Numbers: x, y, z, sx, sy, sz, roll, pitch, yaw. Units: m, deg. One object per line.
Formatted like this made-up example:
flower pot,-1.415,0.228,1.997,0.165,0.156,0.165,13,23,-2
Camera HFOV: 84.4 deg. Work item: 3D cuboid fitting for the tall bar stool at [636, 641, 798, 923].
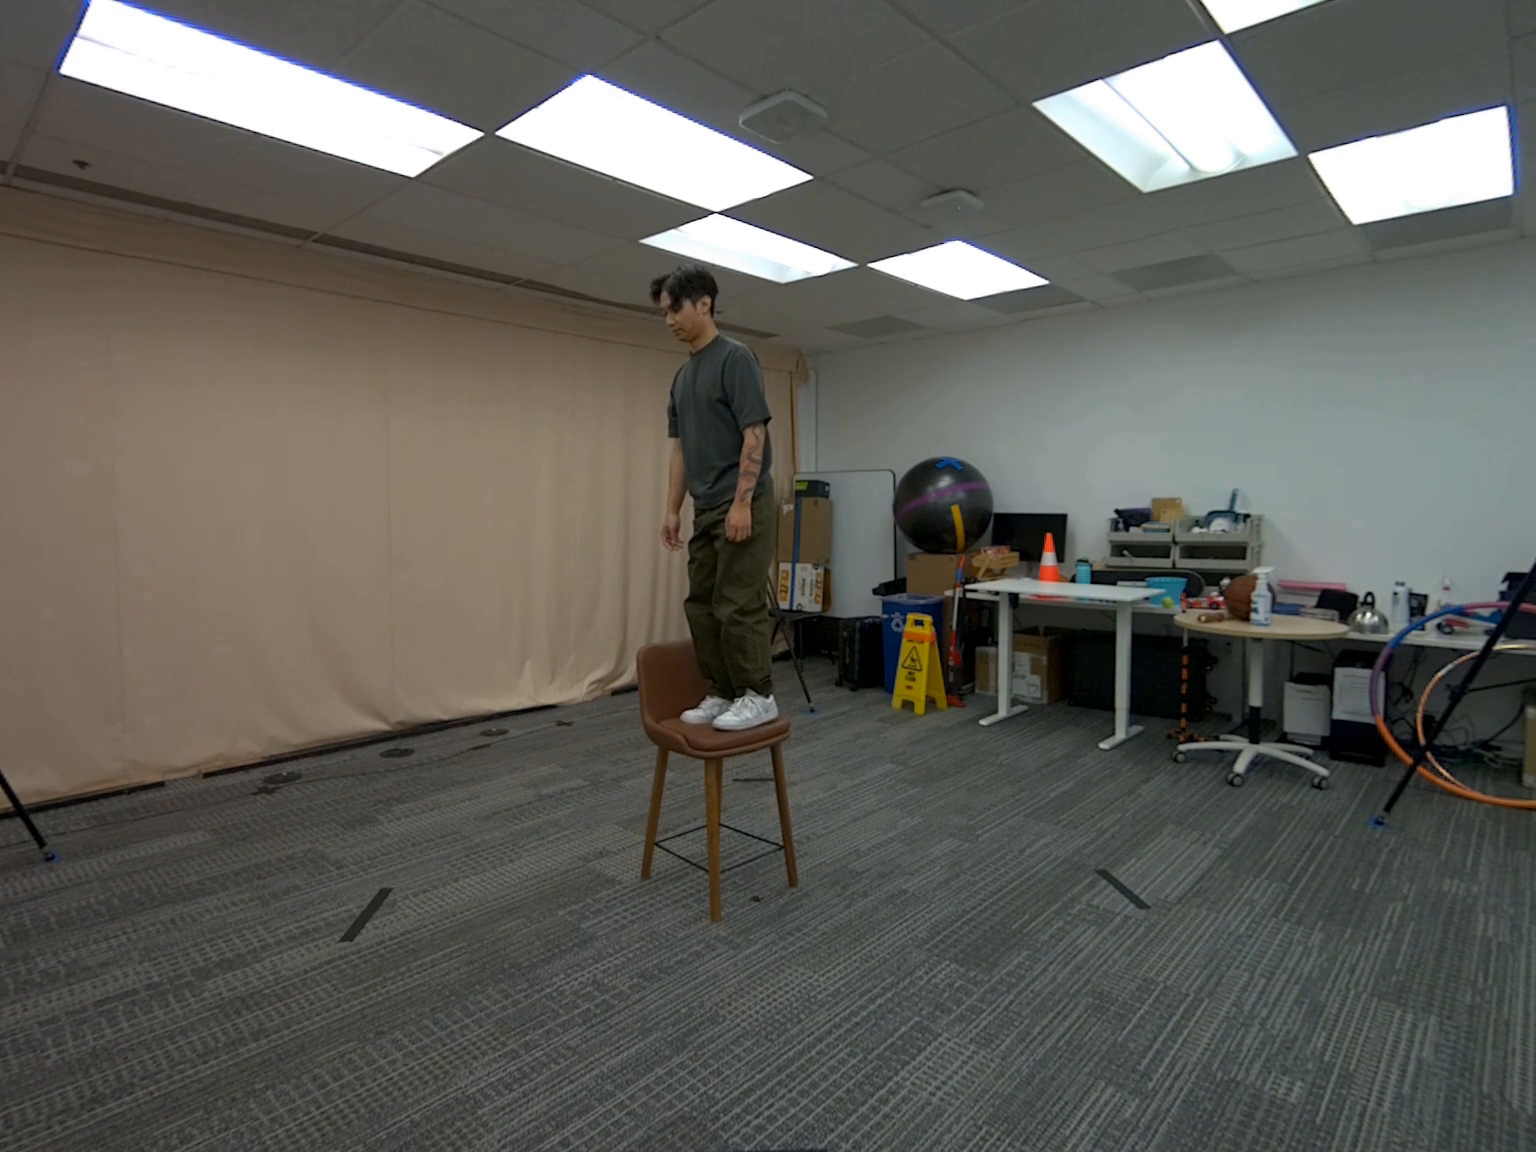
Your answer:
tall bar stool,-0.195,0.700,3.095,0.442,0.888,0.483,-3,3,-43
